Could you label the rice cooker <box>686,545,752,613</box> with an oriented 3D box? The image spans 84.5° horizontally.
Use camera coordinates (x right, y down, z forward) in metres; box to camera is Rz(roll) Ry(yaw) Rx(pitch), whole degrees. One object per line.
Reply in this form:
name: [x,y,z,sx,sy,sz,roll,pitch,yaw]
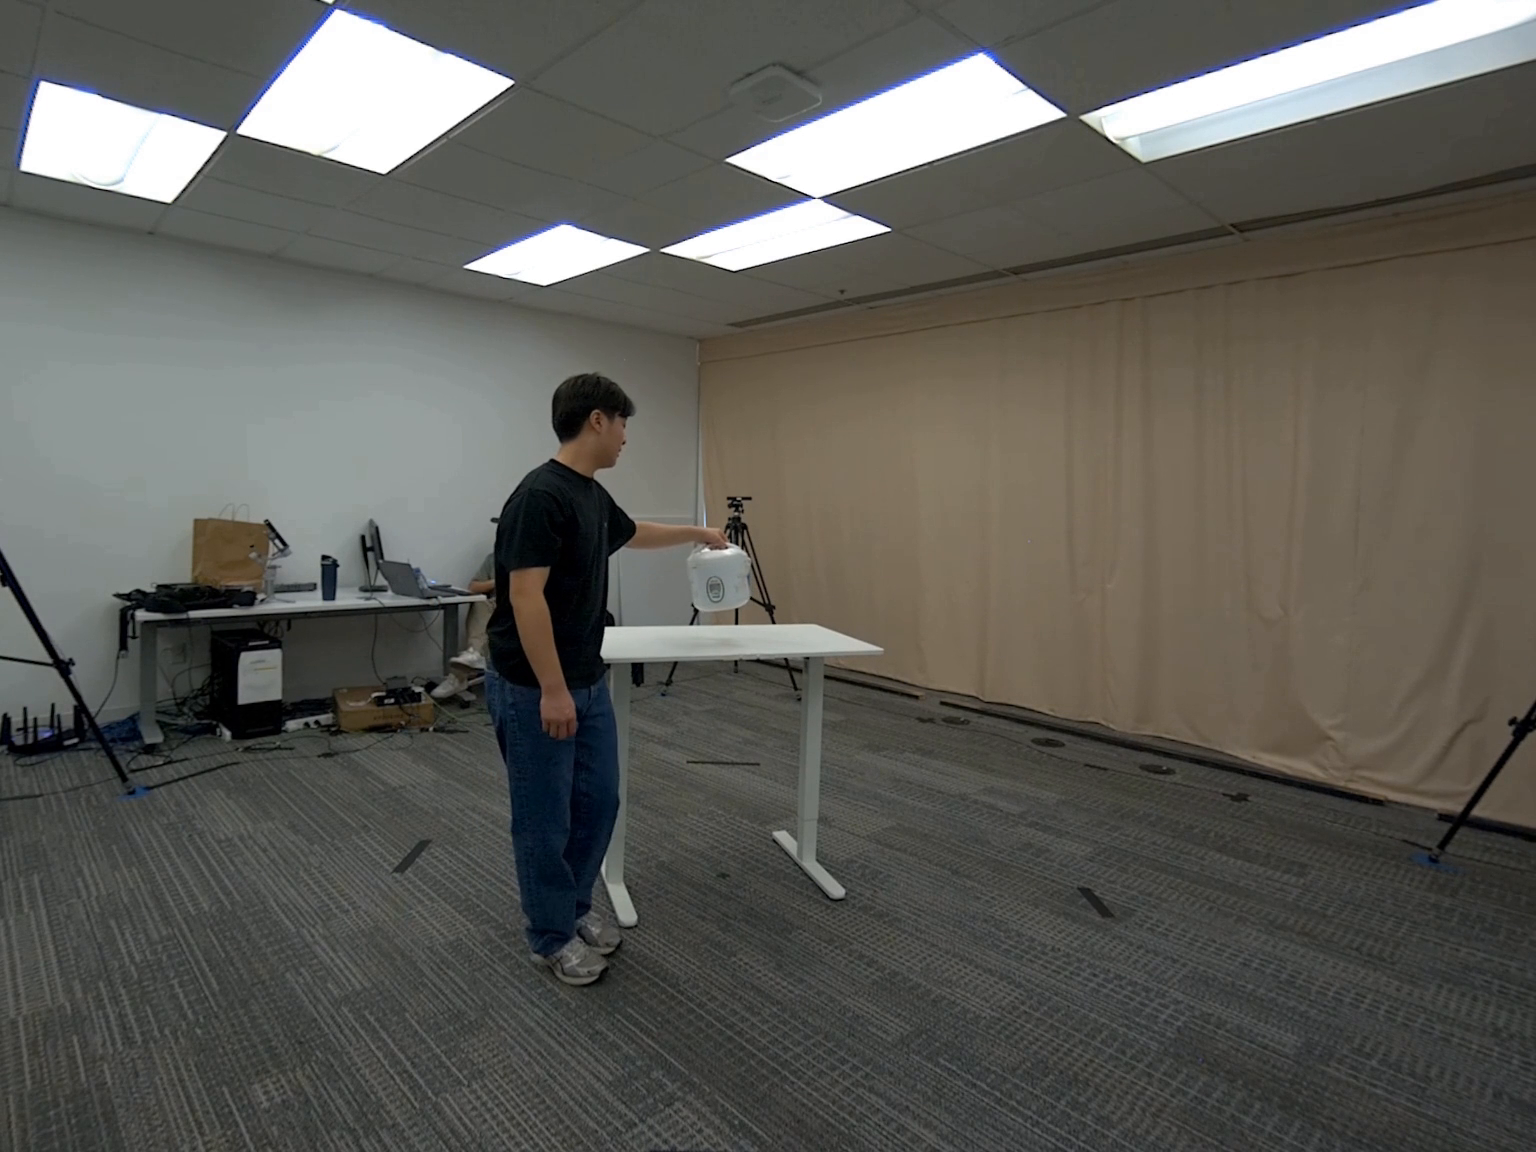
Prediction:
rice cooker: [-0.170,0.002,2.975,0.222,0.232,0.217,-7,5,7]
